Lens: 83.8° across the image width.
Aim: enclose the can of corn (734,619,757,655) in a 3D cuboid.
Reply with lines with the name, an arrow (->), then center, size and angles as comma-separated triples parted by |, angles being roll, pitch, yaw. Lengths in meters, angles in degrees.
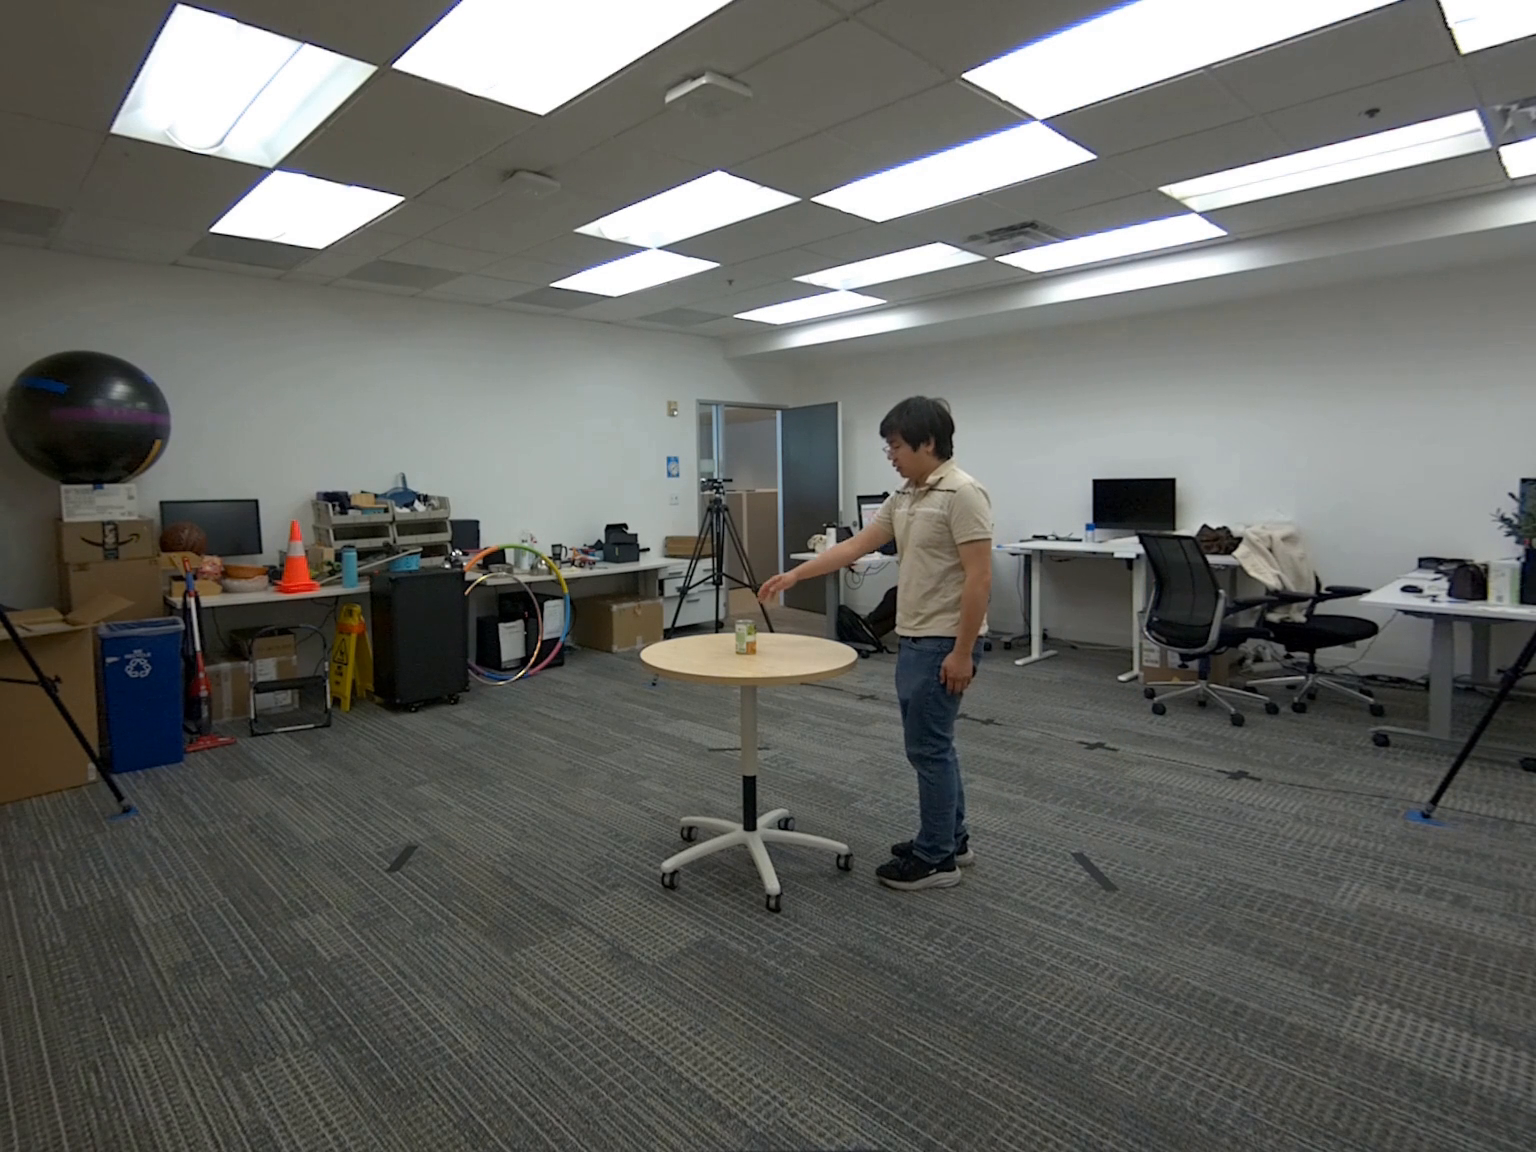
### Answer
can of corn -> -0.075, 0.213, 3.012 | 0.074, 0.111, 0.074 | 1, 3, -2
